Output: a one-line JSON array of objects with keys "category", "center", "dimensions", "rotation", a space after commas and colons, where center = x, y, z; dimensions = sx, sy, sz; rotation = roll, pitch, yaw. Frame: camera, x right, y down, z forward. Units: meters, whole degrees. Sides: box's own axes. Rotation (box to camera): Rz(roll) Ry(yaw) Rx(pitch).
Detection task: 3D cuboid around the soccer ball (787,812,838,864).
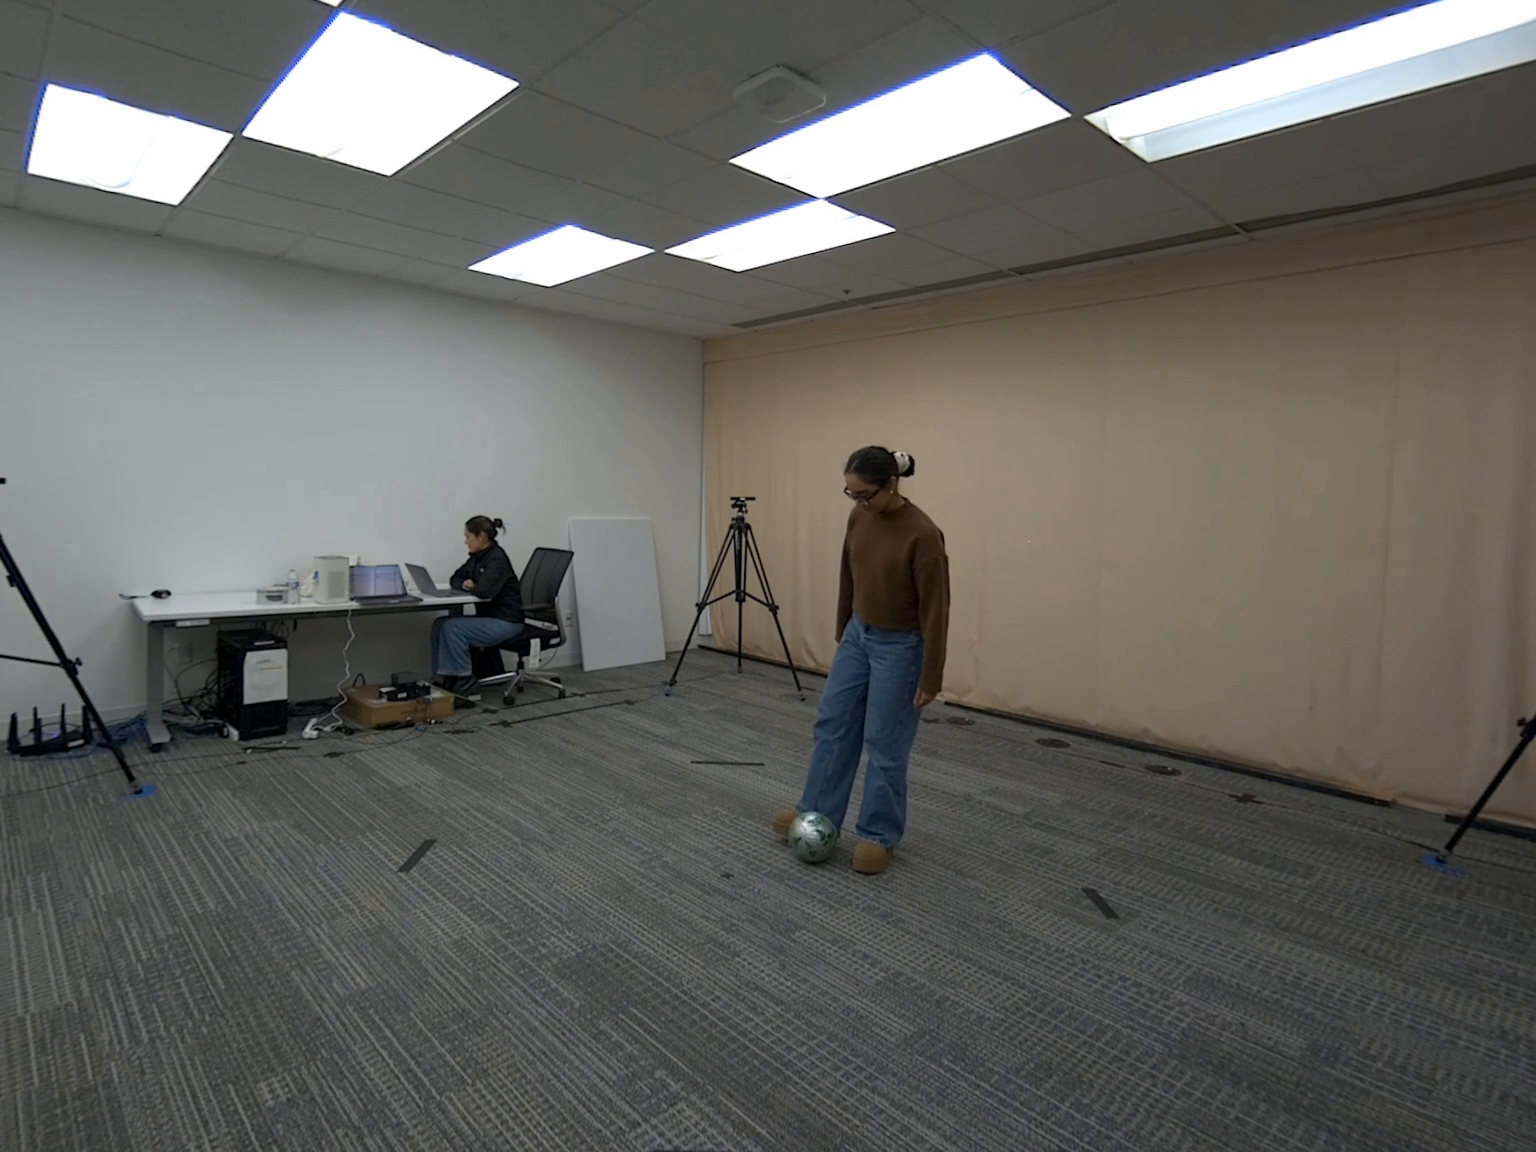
[{"category": "soccer ball", "center": [0.153, 1.008, 3.237], "dimensions": [0.187, 0.187, 0.188], "rotation": [1, 4, -1]}]
